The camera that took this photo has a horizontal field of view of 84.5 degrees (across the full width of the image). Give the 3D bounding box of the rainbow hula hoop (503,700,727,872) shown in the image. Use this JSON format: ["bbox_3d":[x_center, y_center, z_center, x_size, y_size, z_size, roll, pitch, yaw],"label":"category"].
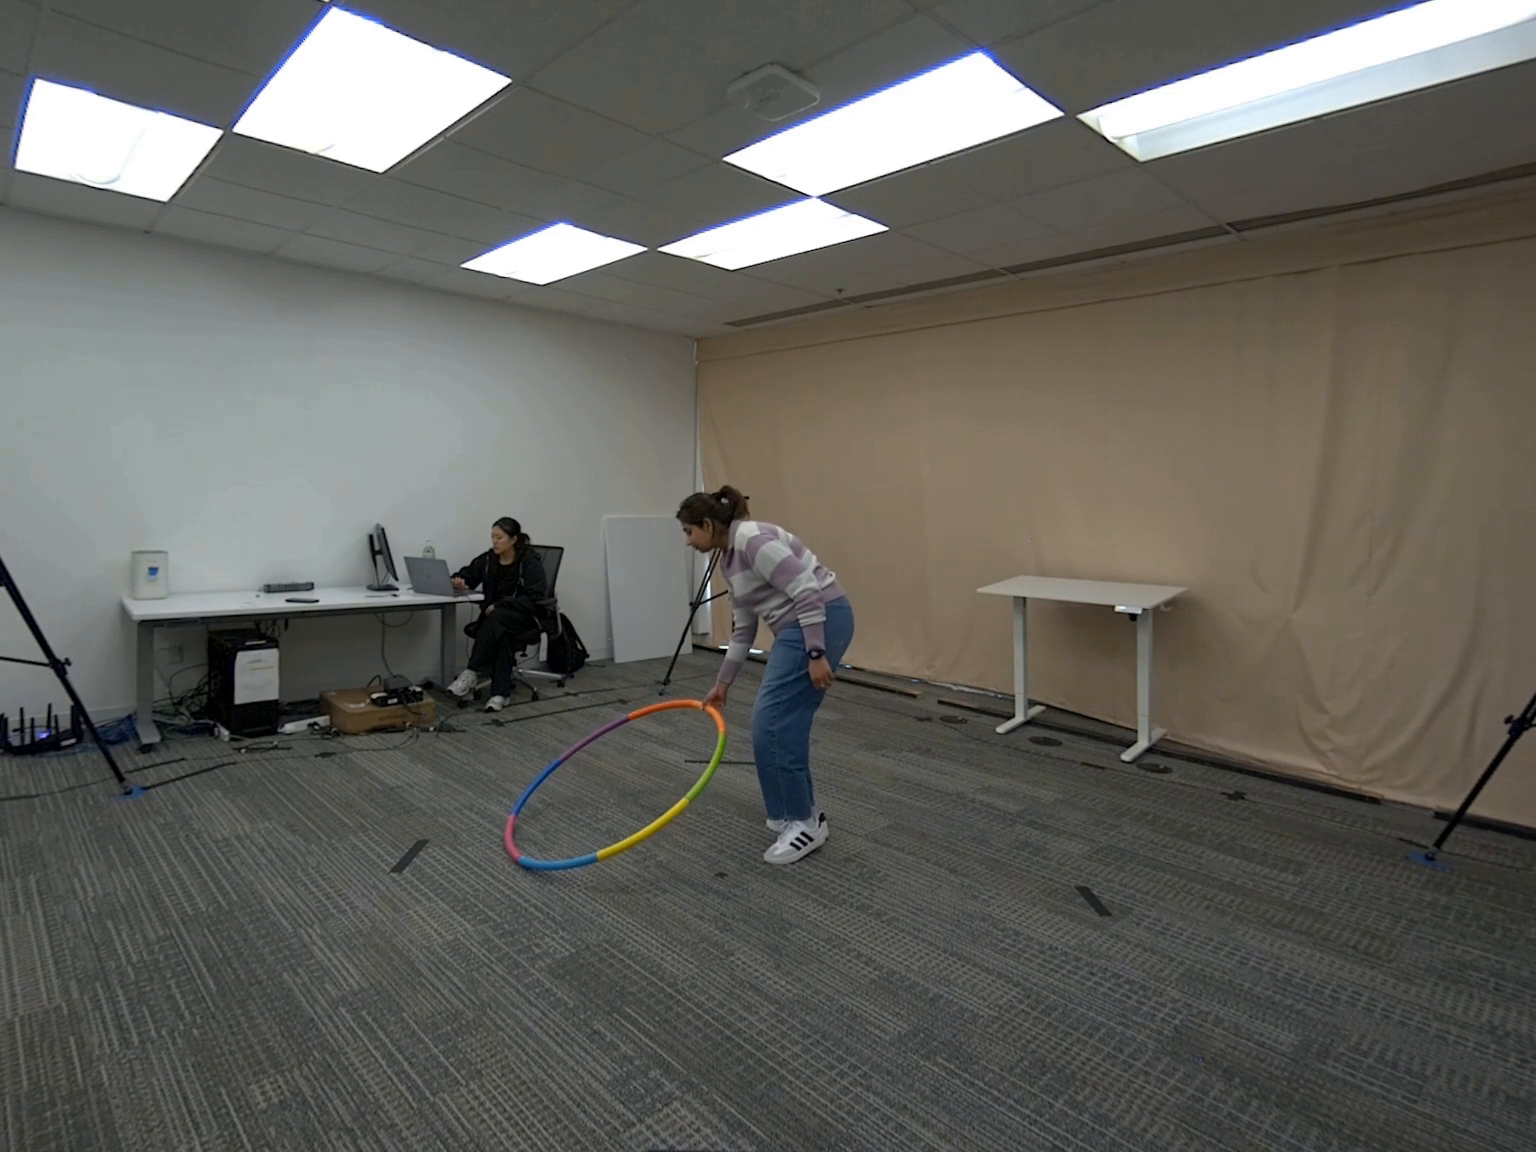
[{"bbox_3d":[-0.627,0.815,3.408,0.982,0.035,0.993,-23,20,7],"label":"rainbow hula hoop"}]
